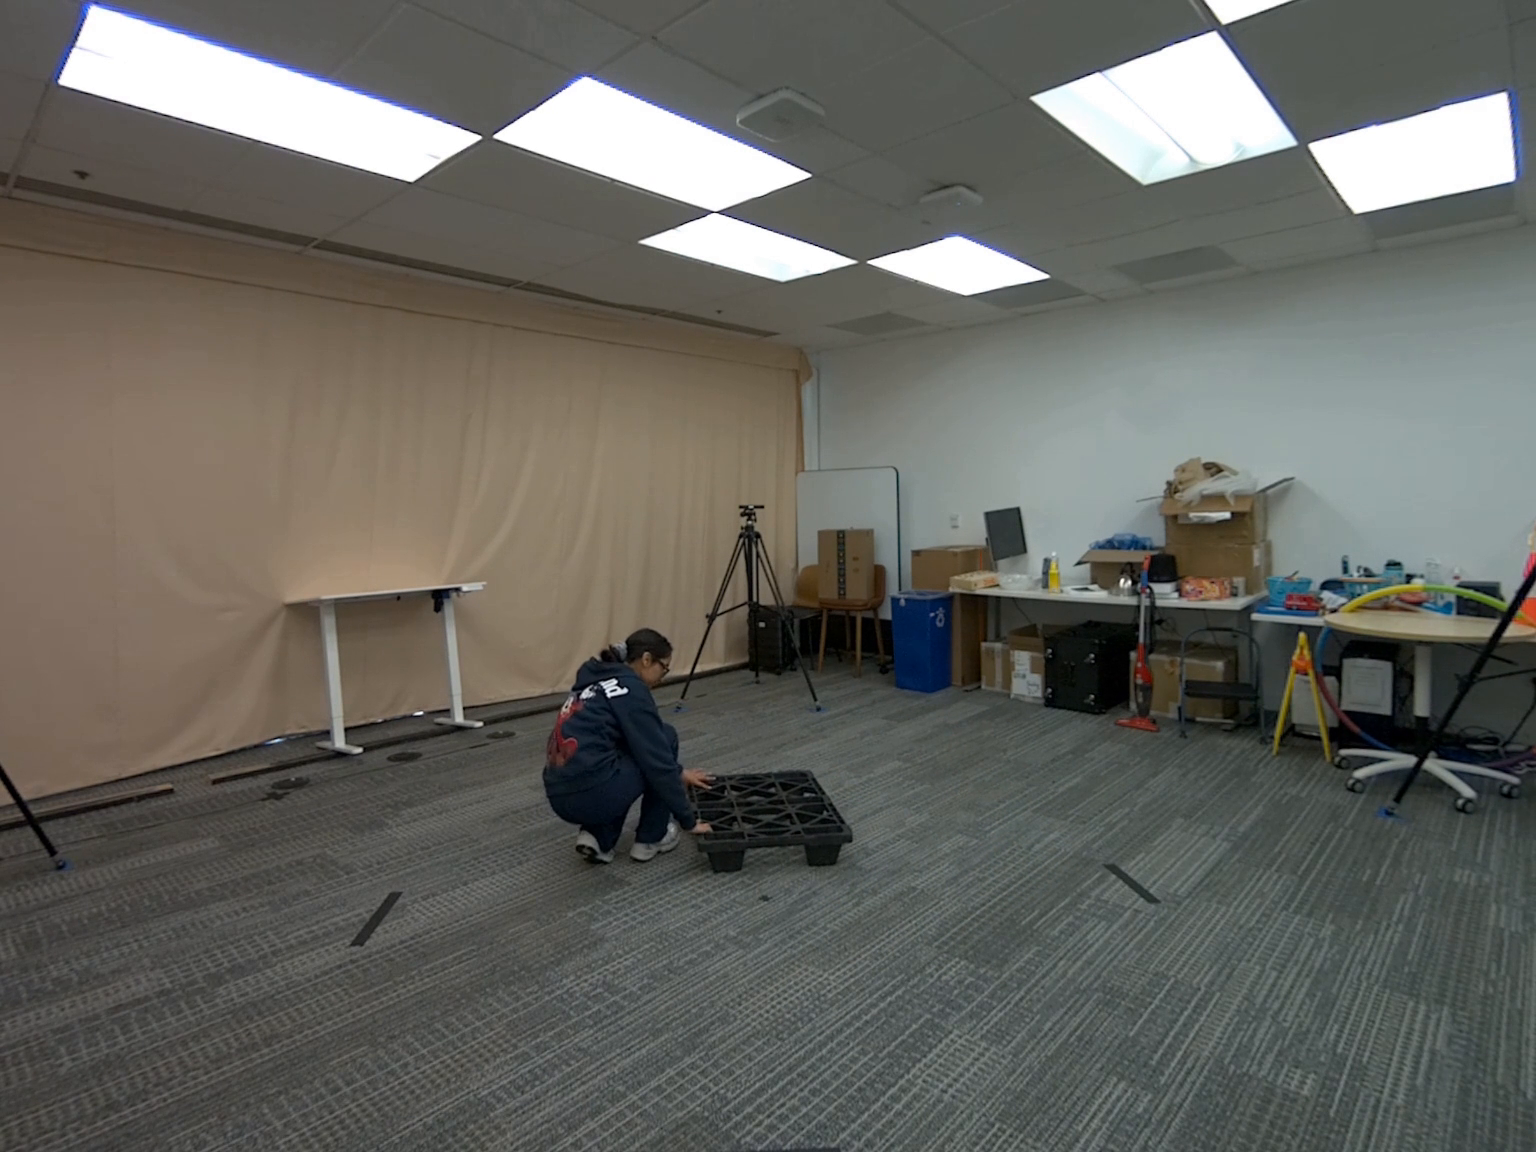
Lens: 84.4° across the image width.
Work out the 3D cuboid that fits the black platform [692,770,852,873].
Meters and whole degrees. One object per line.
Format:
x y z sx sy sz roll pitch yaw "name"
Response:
-0.034 1.023 3.563 0.601 0.143 0.813 -2 4 -7 "black platform"
